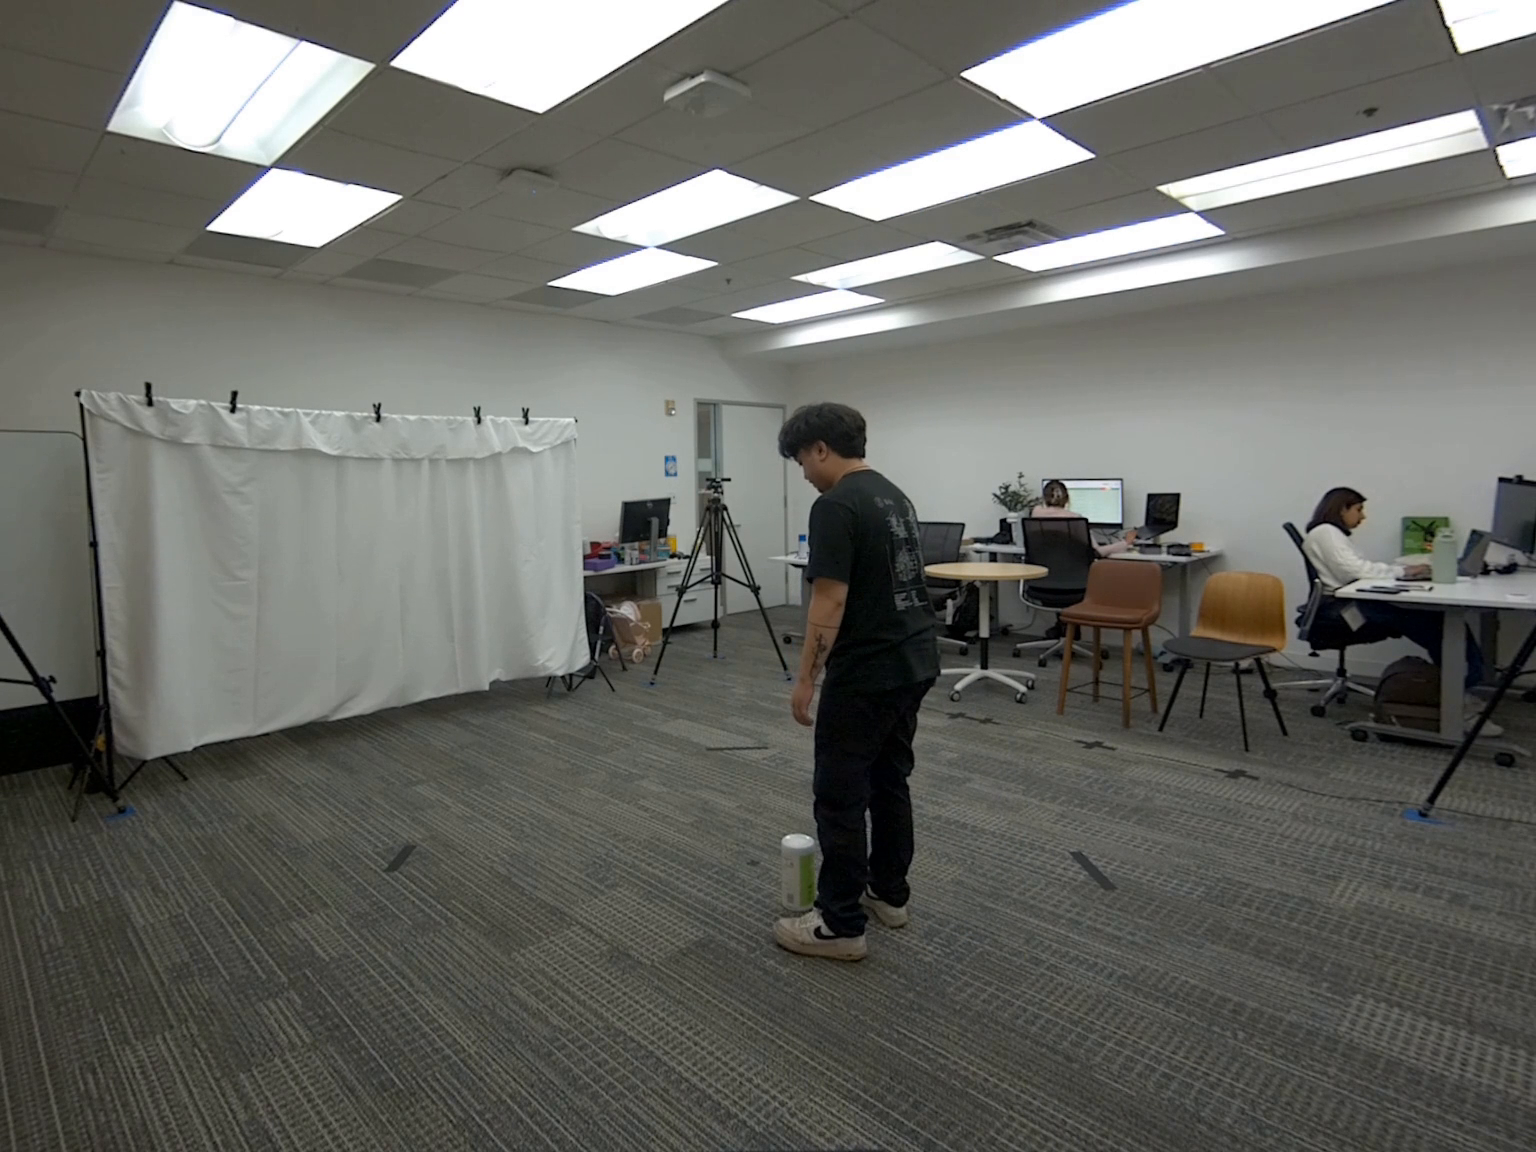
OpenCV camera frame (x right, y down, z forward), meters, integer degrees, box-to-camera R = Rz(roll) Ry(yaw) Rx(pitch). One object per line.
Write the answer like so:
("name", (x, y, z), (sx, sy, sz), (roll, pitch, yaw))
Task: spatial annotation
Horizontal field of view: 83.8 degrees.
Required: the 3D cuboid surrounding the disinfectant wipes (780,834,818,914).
("disinfectant wipes", (0.104, 0.969, 2.784), (0.118, 0.217, 0.118), (-2, 4, -2))
